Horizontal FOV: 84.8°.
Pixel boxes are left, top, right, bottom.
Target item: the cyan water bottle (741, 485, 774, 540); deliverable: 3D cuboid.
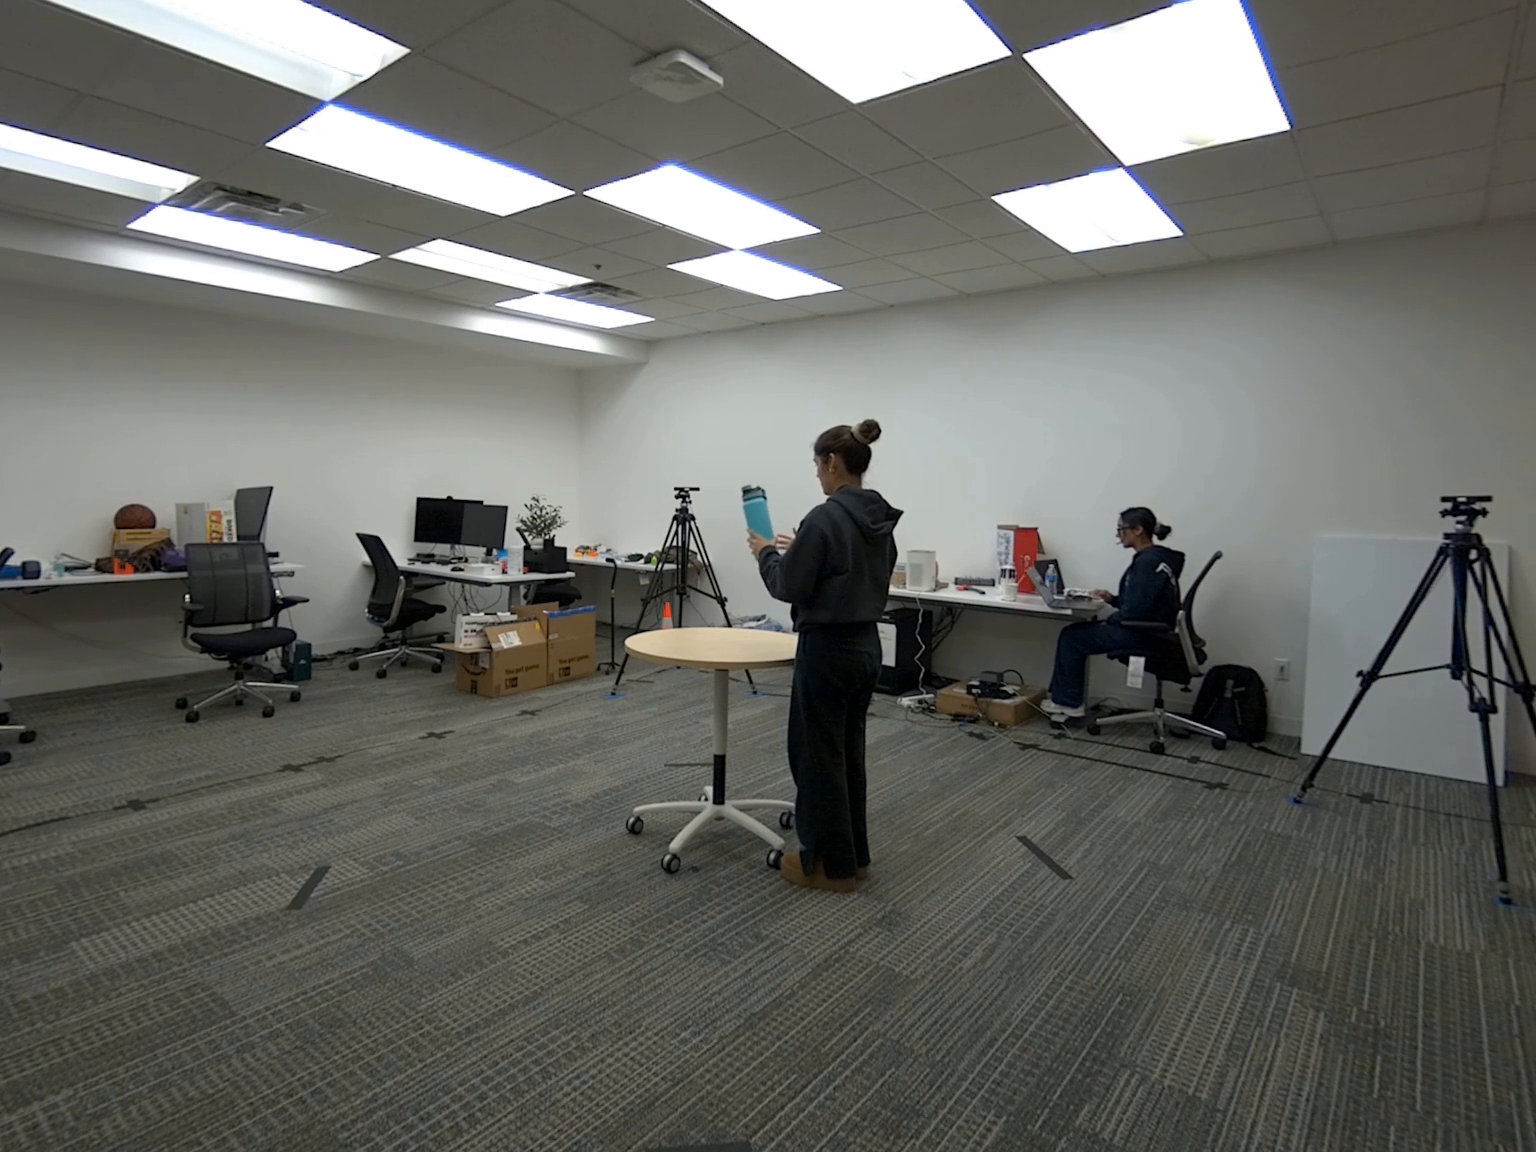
[{"bbox_3d":[-0.019,-0.180,3.156,0.092,0.284,0.092,-12,-3,-2],"label":"cyan water bottle"}]
